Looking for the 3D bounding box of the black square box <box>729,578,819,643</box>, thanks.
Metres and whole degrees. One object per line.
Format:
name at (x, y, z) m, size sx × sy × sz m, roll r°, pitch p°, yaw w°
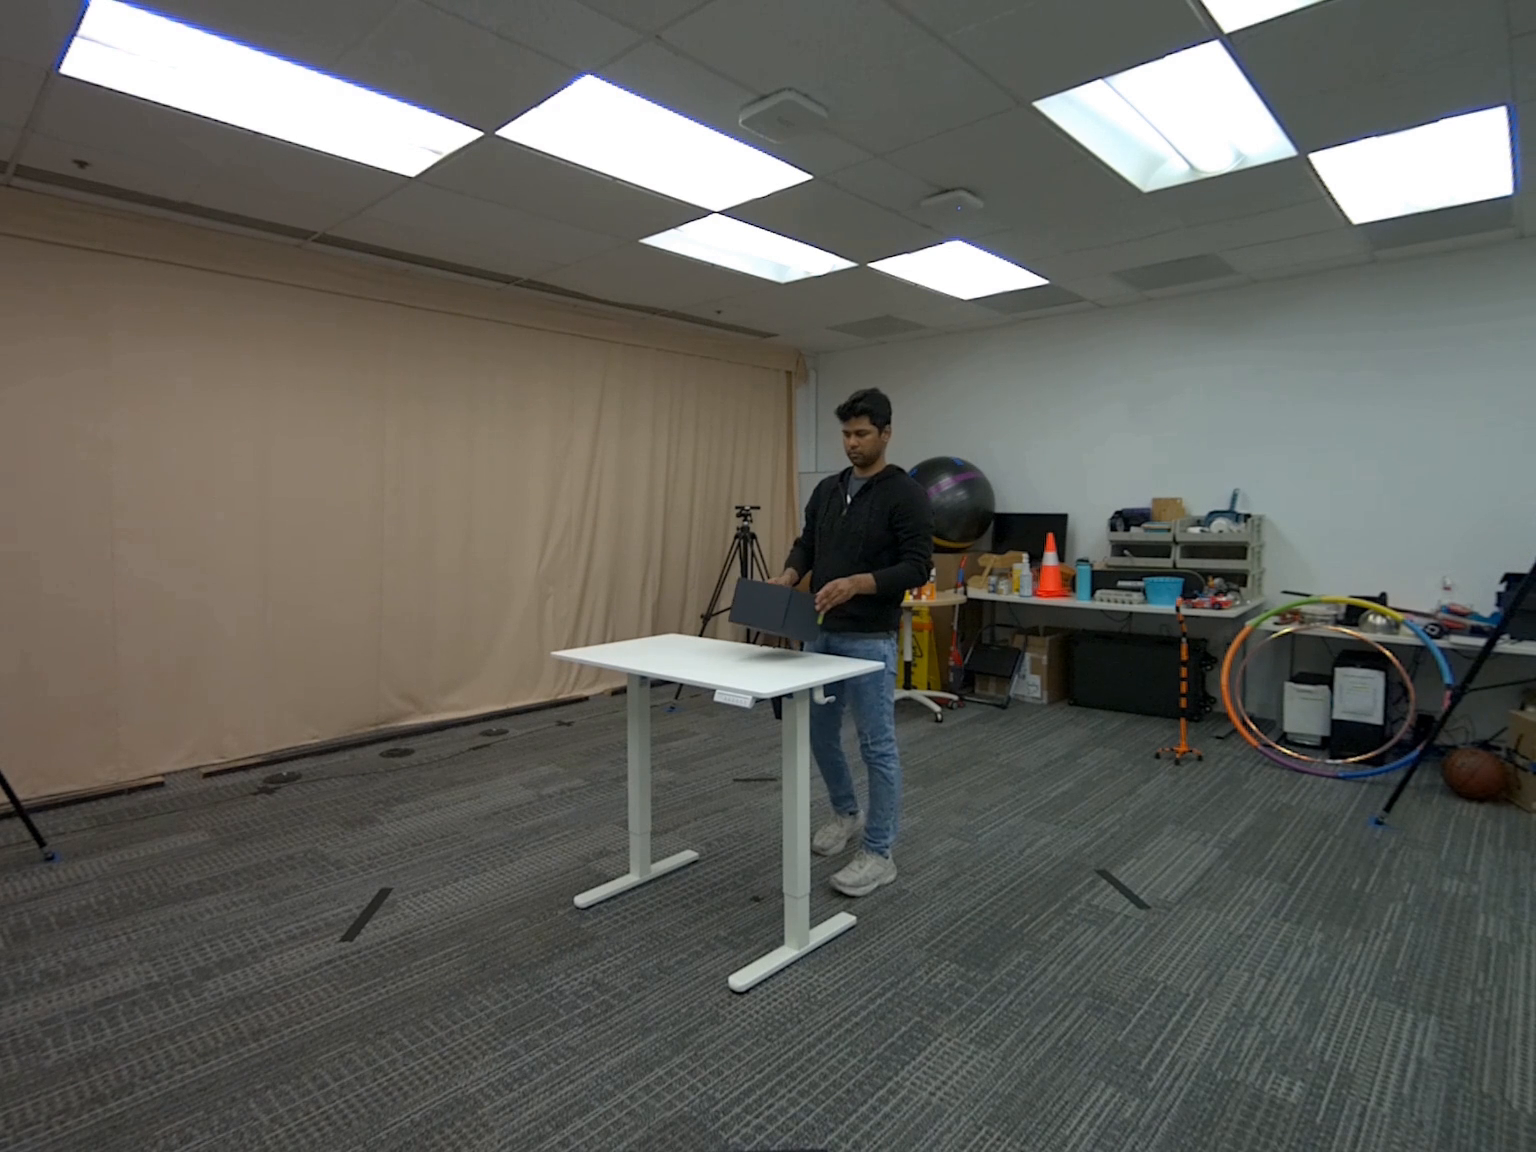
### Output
black square box at (0.045, 0.118, 2.837) m, size 0.236 × 0.156 × 0.209 m, roll 9°, pitch -8°, yaw 38°
